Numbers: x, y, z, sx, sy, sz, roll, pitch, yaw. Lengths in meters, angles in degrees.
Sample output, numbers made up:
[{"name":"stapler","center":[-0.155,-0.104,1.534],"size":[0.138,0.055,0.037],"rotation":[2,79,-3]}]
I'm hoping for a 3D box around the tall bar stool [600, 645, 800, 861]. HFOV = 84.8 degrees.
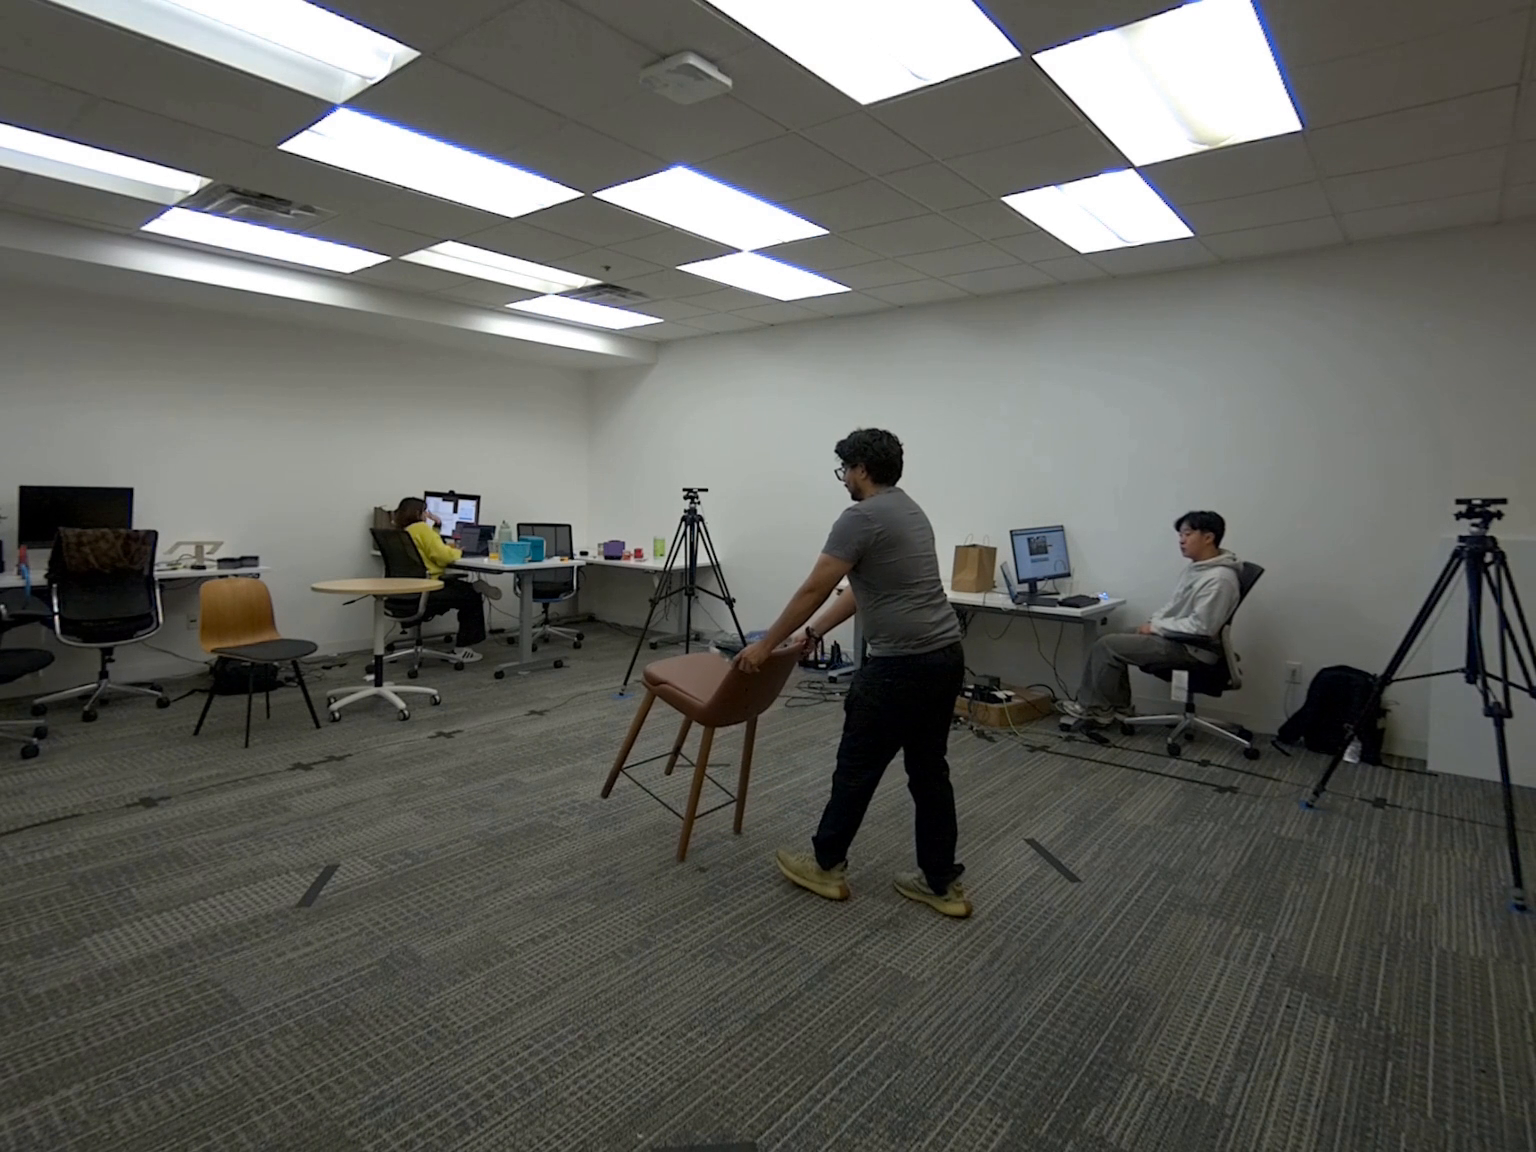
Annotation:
[{"name":"tall bar stool","center":[-0.264,0.567,3.324],"size":[0.486,0.882,0.443],"rotation":[30,19,33]}]
